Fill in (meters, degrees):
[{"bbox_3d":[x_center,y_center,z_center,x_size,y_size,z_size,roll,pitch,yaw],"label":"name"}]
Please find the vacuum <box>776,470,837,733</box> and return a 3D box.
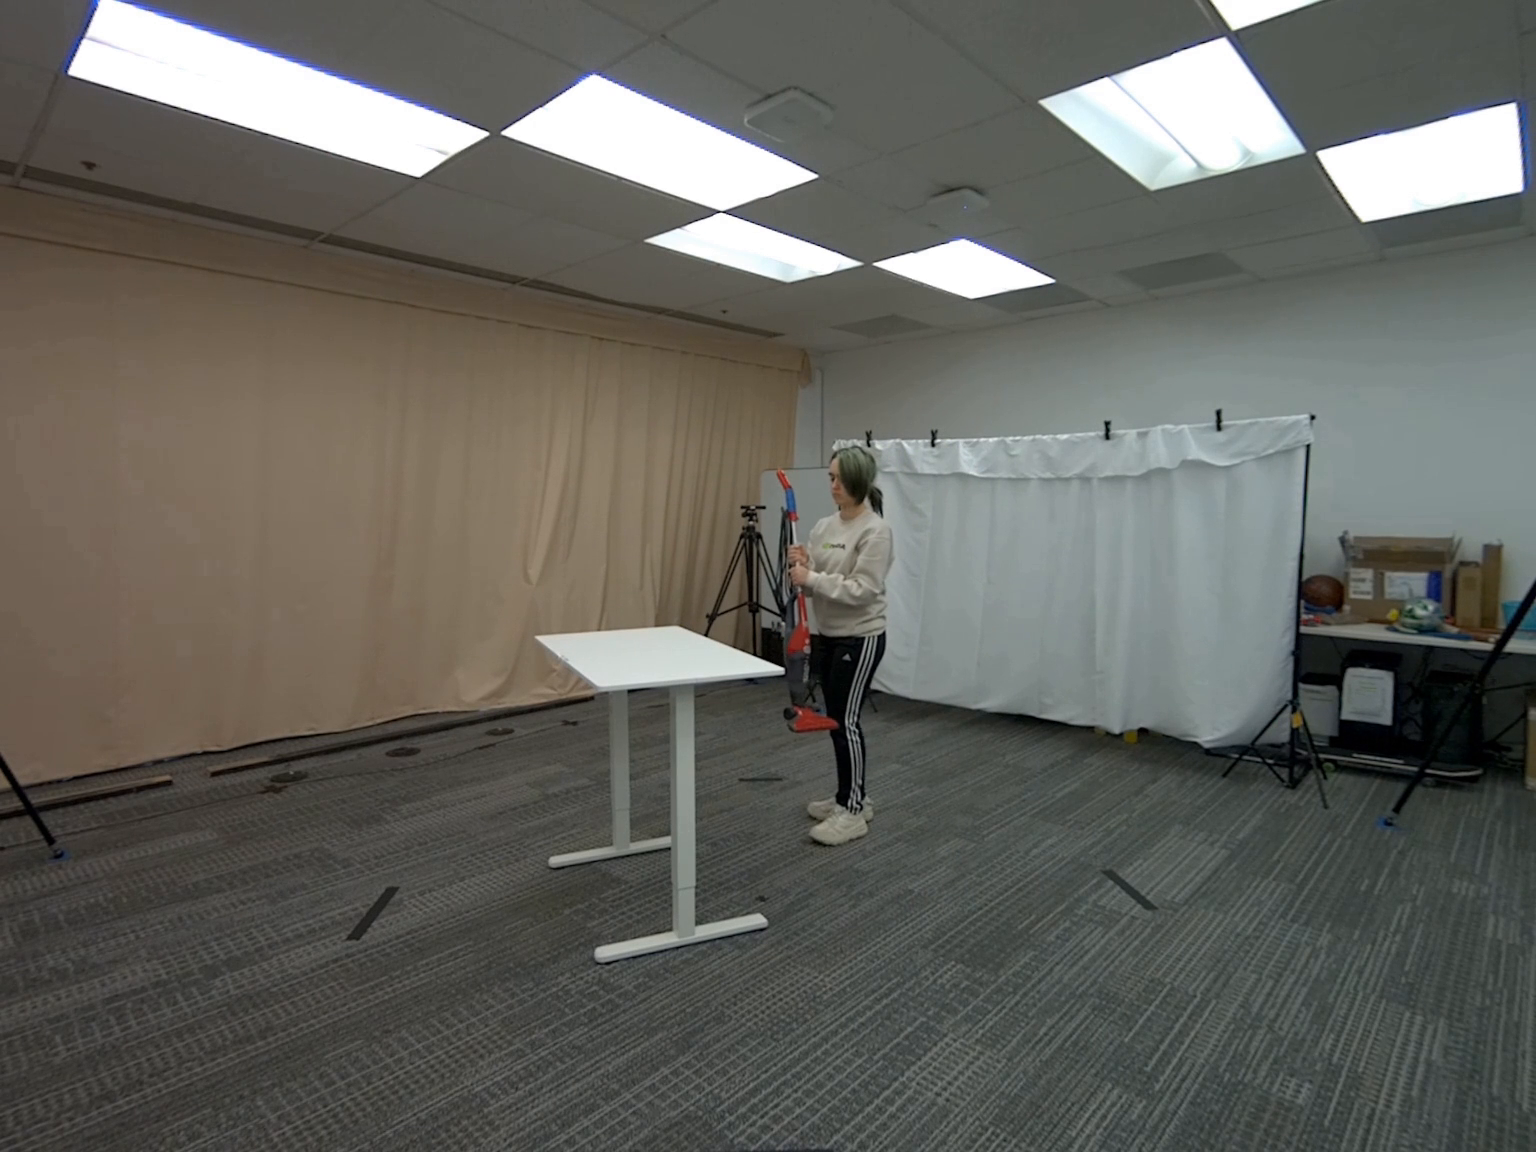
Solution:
[{"bbox_3d":[0.103,0.074,3.500,0.147,1.058,0.244,-17,-15,41],"label":"vacuum"}]
